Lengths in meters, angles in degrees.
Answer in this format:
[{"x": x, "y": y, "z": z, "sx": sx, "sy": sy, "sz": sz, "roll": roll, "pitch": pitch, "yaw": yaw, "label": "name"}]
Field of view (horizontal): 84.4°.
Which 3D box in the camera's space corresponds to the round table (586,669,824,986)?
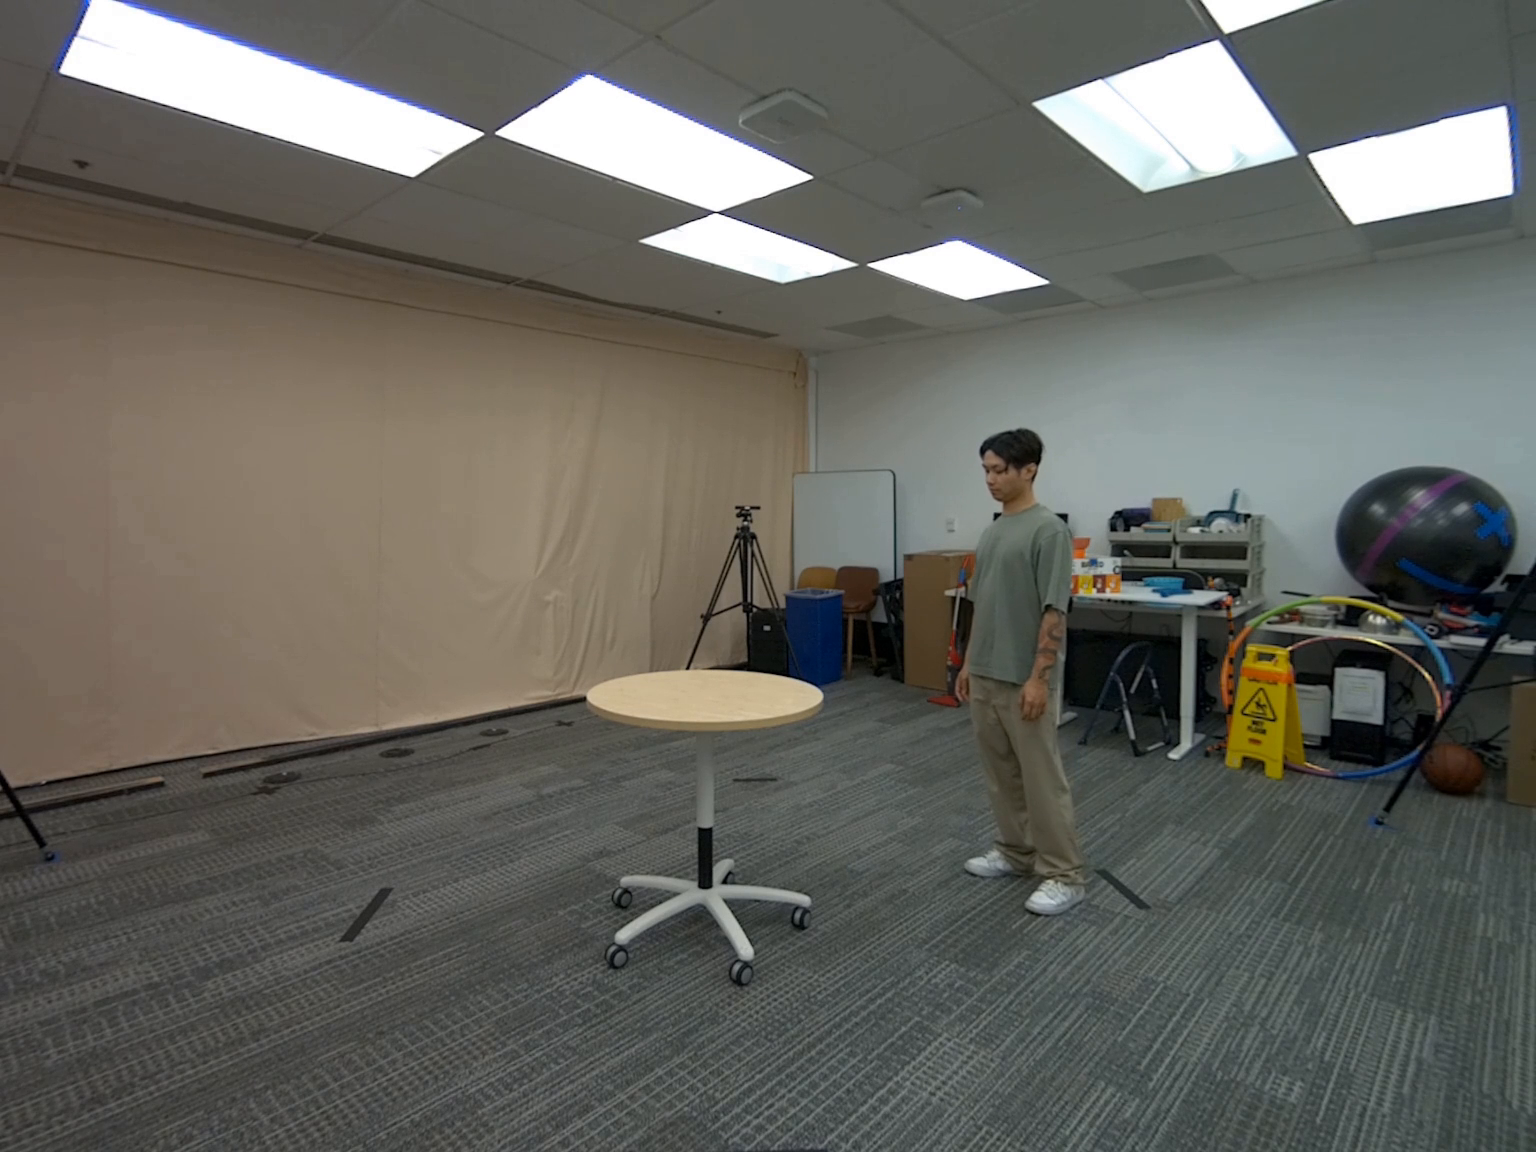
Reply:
[{"x": -0.202, "y": 0.771, "z": 2.769, "sx": 0.784, "sy": 0.785, "sz": 0.787, "roll": 0, "pitch": 3, "yaw": -2, "label": "round table"}]
